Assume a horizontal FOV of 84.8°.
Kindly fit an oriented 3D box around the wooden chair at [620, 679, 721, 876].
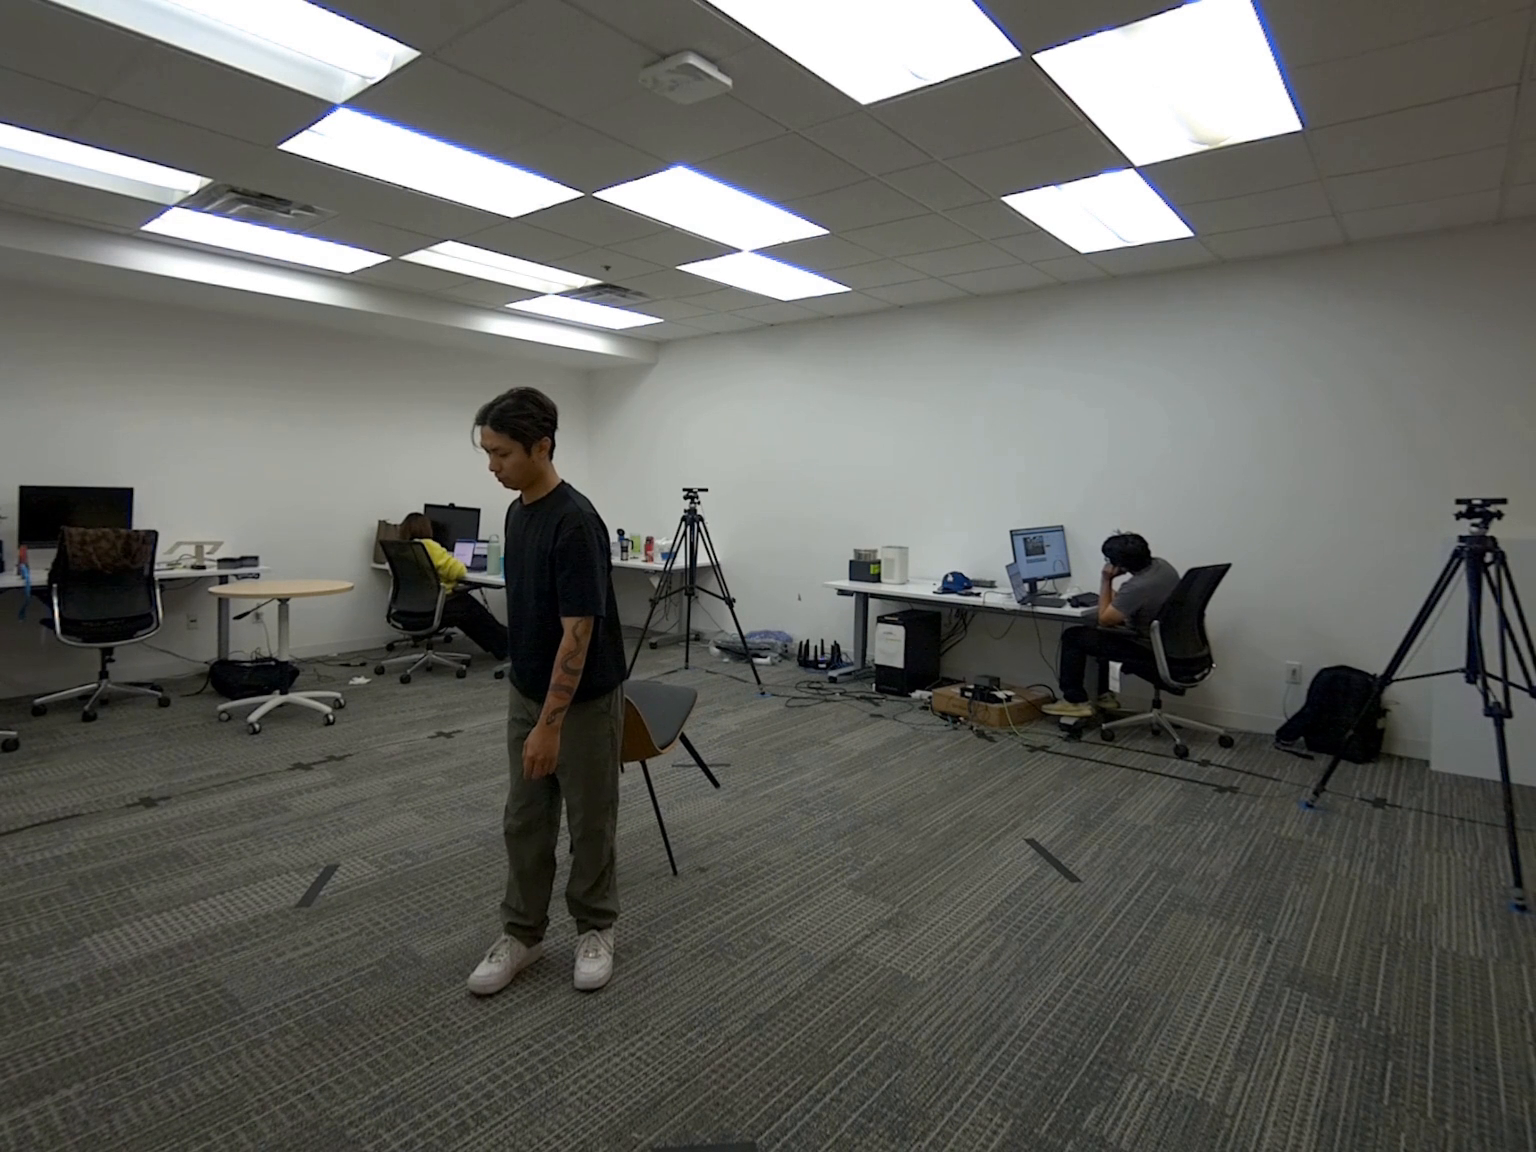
[{"bbox_3d":[-0.533,0.571,3.134,0.489,0.851,0.527,2,33,21],"label":"wooden chair"}]
